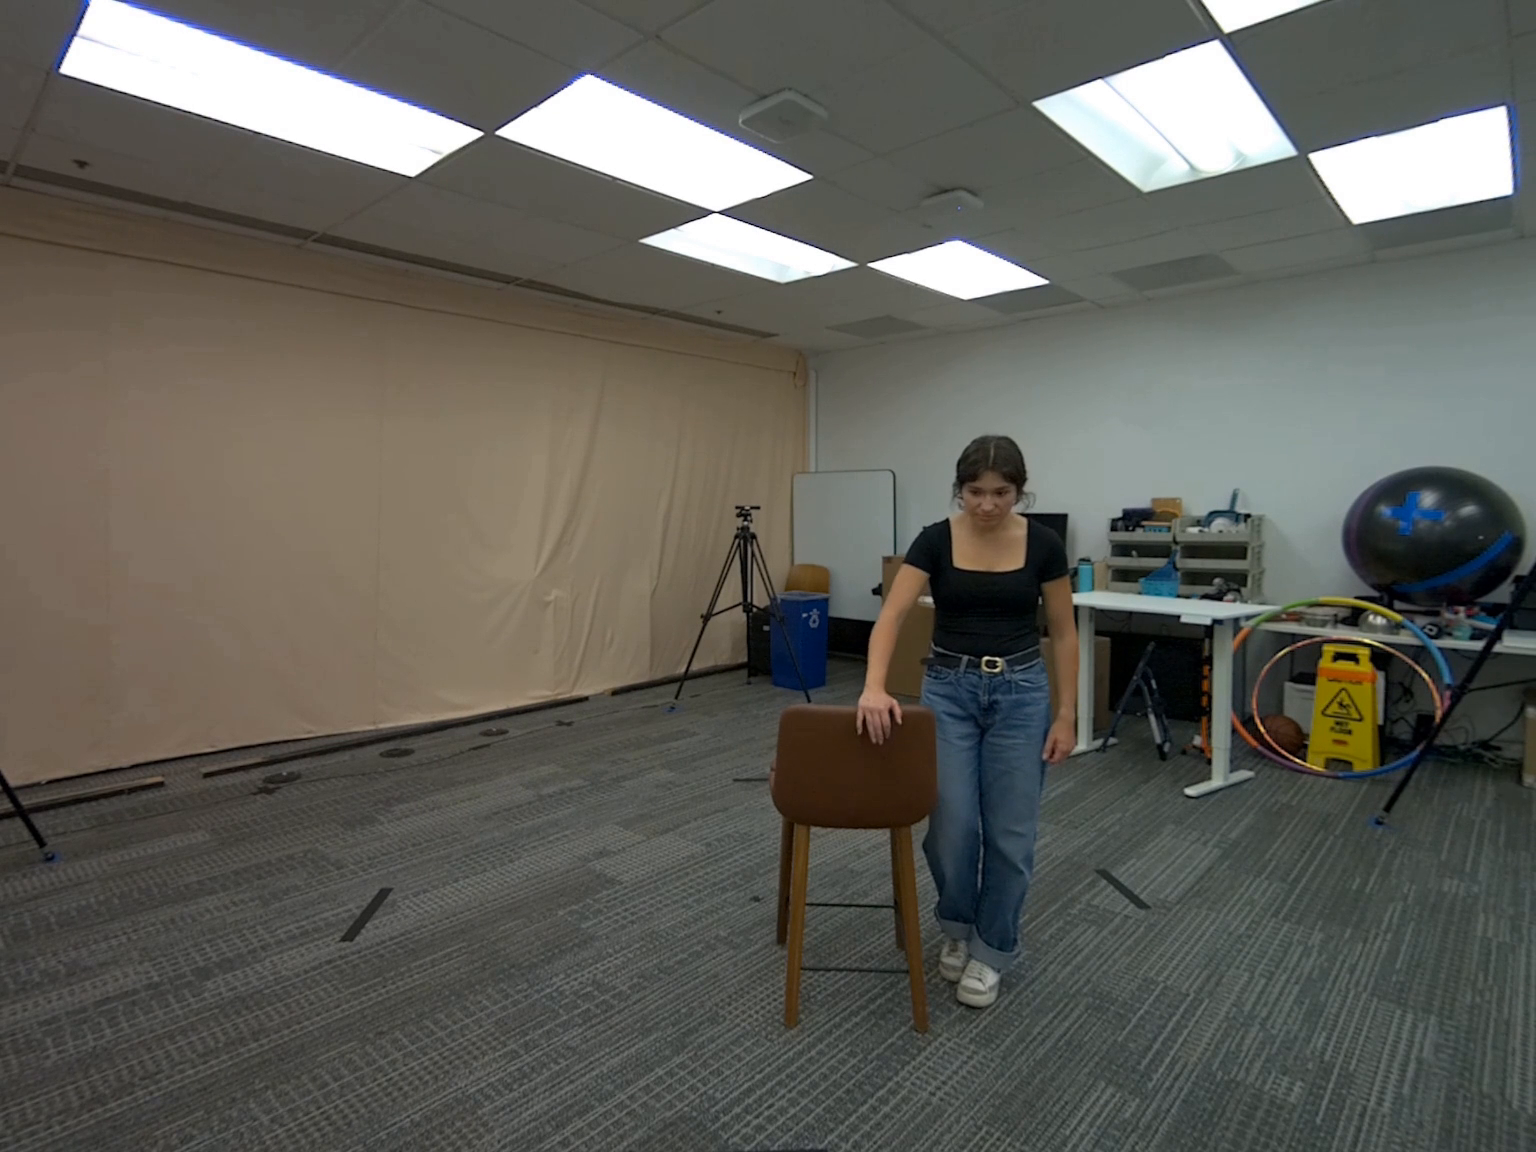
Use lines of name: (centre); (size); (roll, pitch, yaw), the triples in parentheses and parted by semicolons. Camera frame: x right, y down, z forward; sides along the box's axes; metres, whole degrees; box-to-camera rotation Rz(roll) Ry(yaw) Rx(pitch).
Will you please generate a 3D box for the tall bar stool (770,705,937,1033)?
tall bar stool: (0.236, 0.757, 2.426); (0.458, 0.887, 0.468); (1, 5, 1)
